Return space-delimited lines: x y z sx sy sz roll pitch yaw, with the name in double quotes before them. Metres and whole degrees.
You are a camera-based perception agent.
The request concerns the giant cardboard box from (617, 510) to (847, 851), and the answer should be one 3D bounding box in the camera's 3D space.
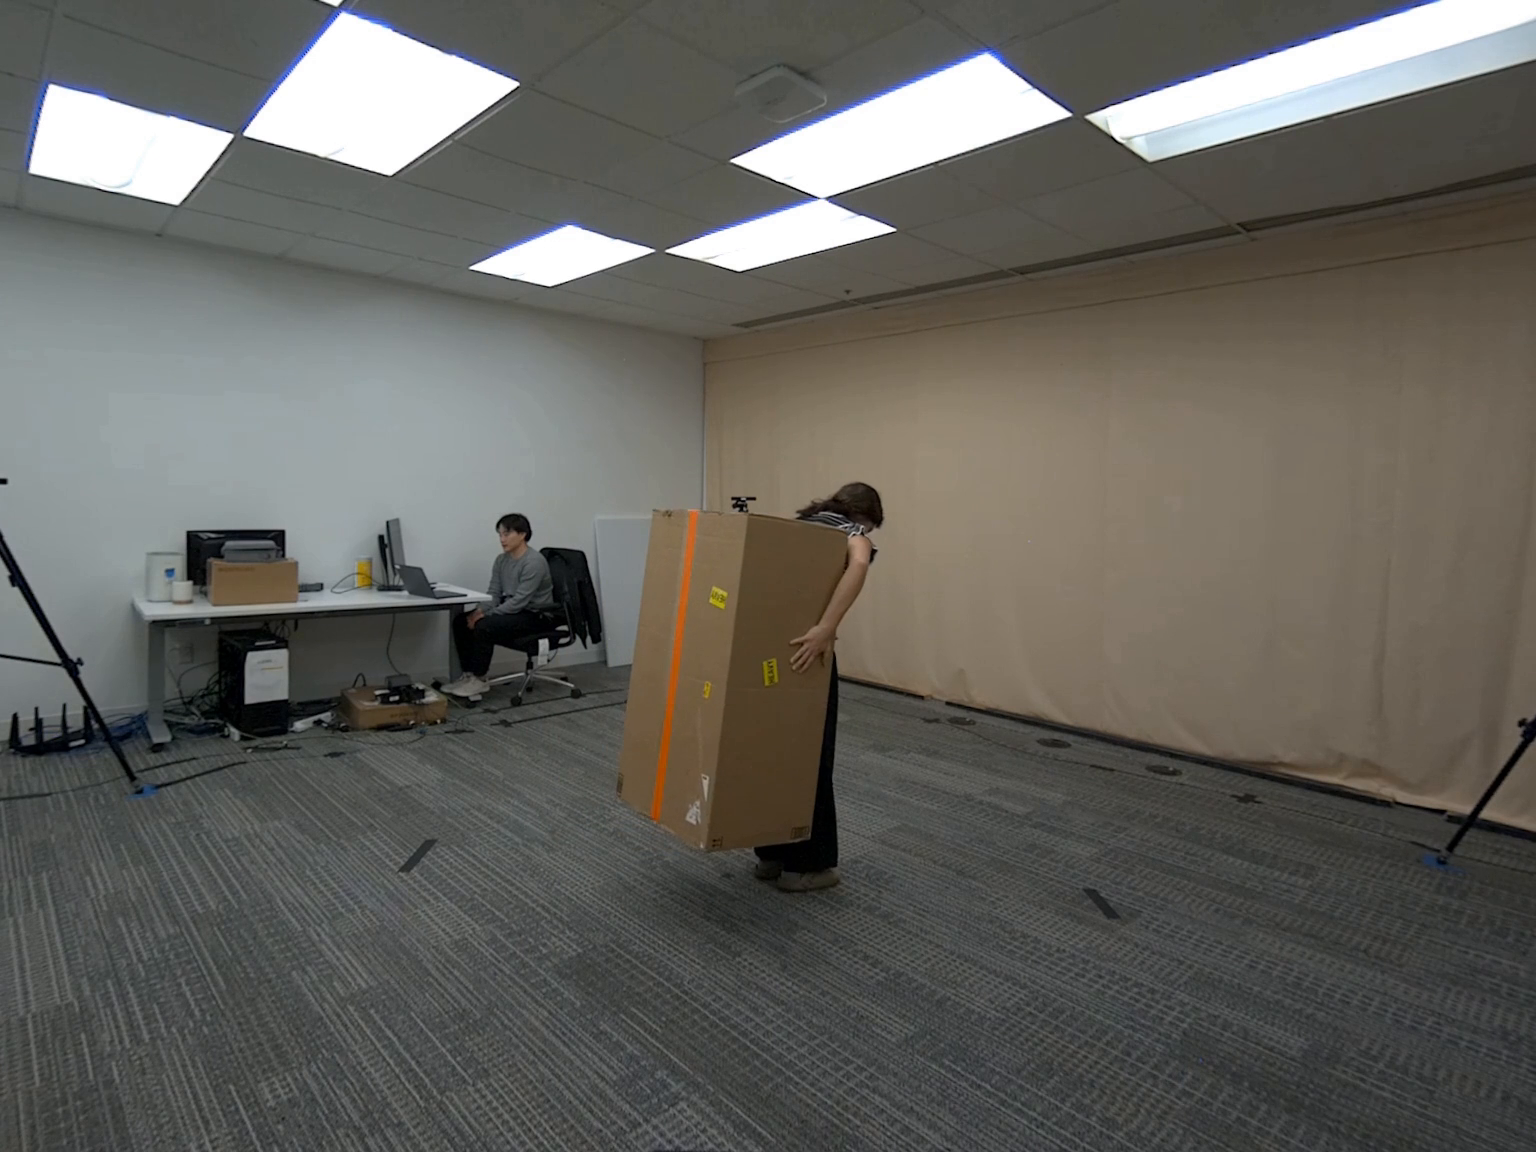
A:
"giant cardboard box" -0.150 0.318 2.847 0.415 1.027 0.592 8 -1 -37
